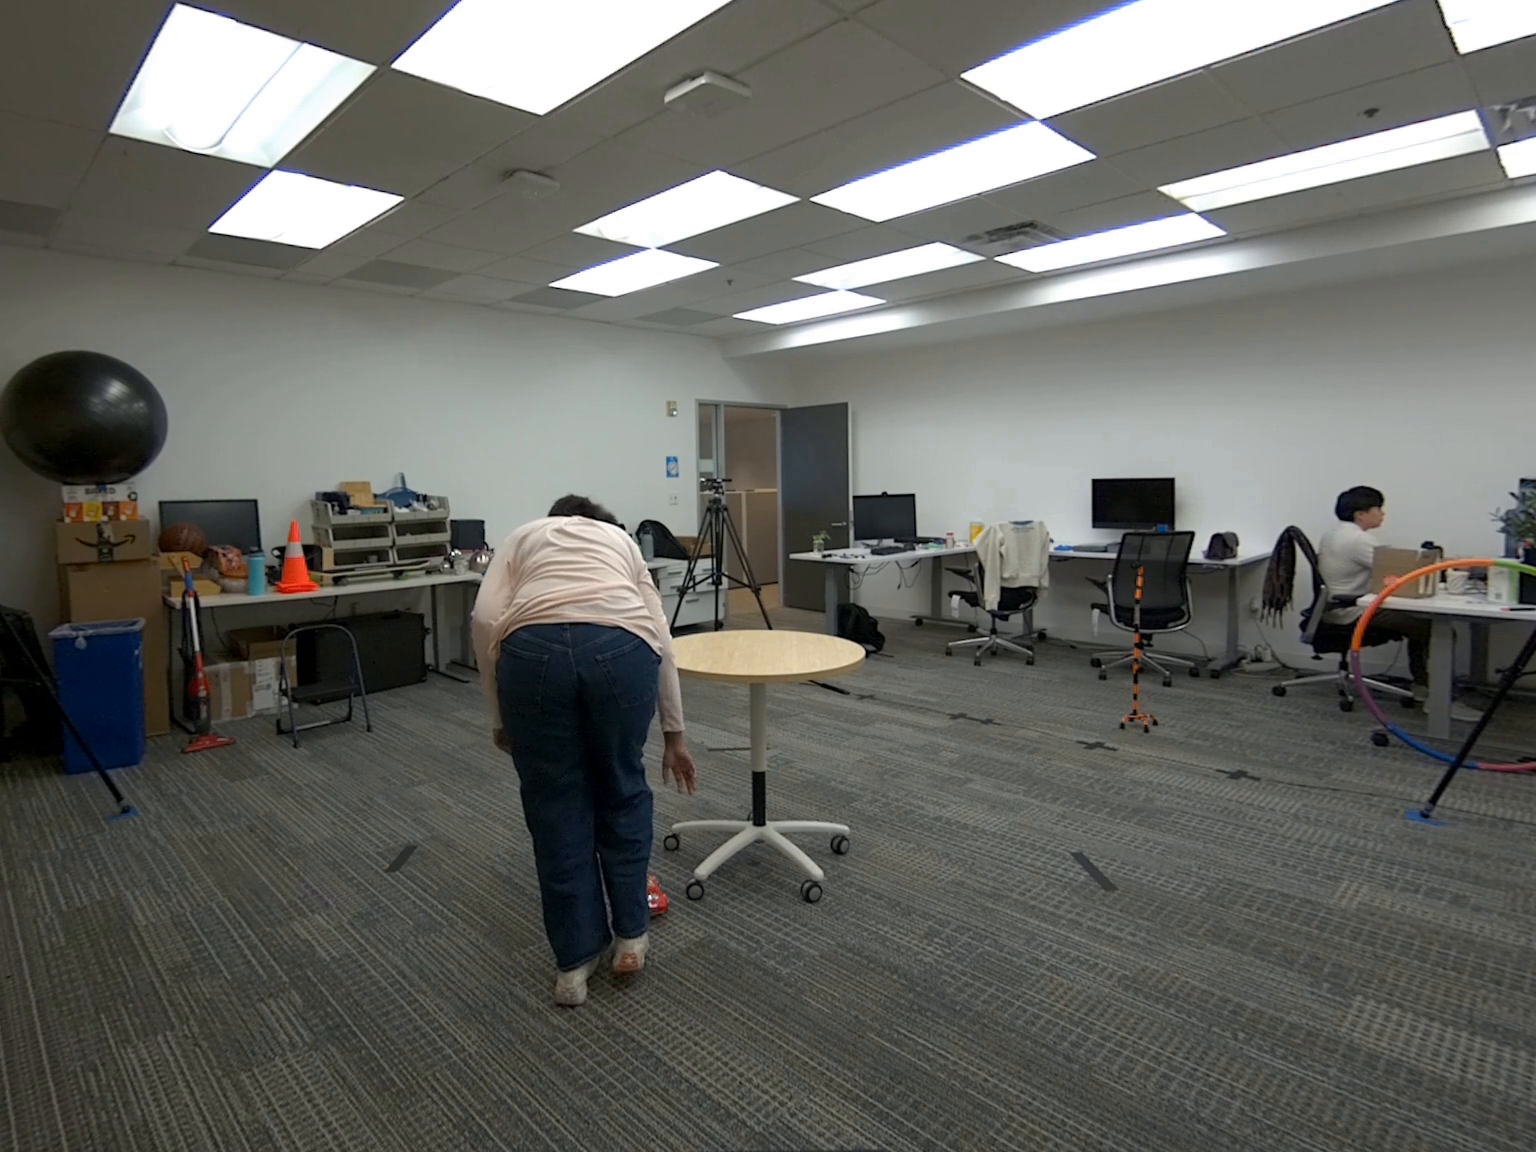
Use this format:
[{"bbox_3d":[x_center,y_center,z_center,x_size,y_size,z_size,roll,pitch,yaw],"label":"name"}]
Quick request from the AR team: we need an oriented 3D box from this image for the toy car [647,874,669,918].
[{"bbox_3d":[-0.395,1.052,2.805,0.128,0.083,0.257,-3,-3,-19],"label":"toy car"}]
